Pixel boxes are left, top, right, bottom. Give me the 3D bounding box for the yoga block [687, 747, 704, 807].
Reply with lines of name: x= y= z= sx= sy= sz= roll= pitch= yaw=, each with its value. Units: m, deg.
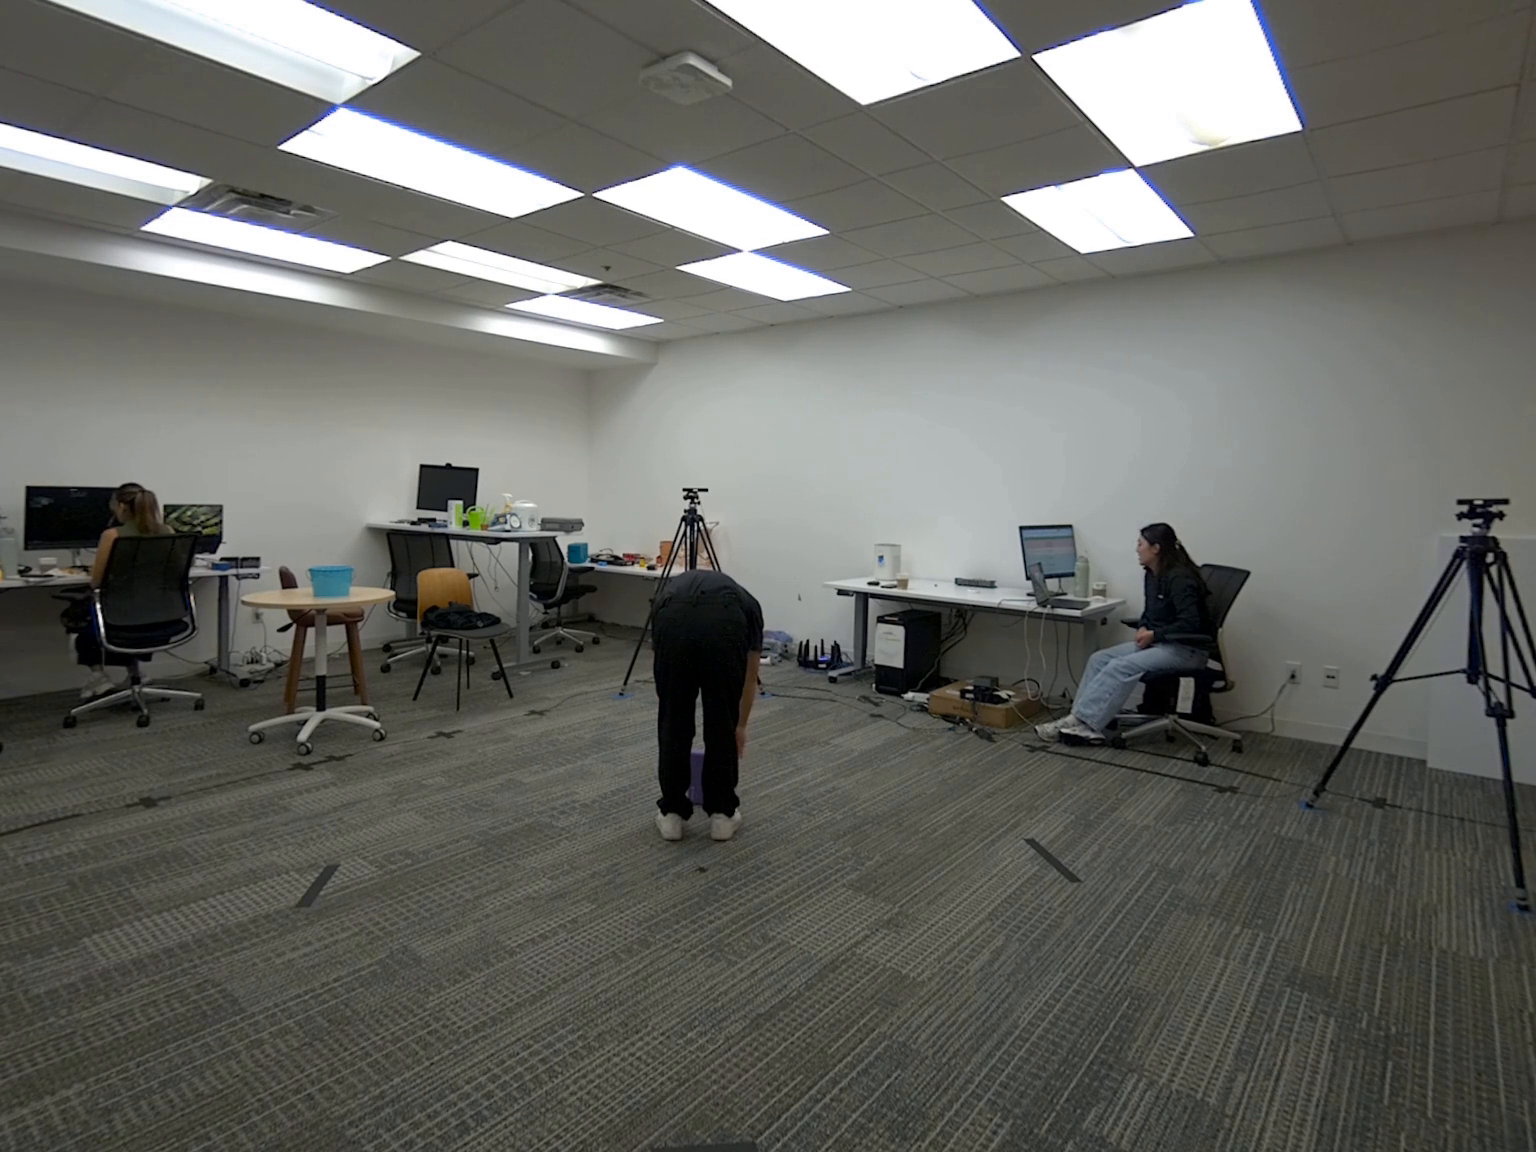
yoga block: x=-0.283 y=0.885 z=3.760 sx=0.150 sy=0.229 sz=0.076 roll=4 pitch=2 yaw=5
